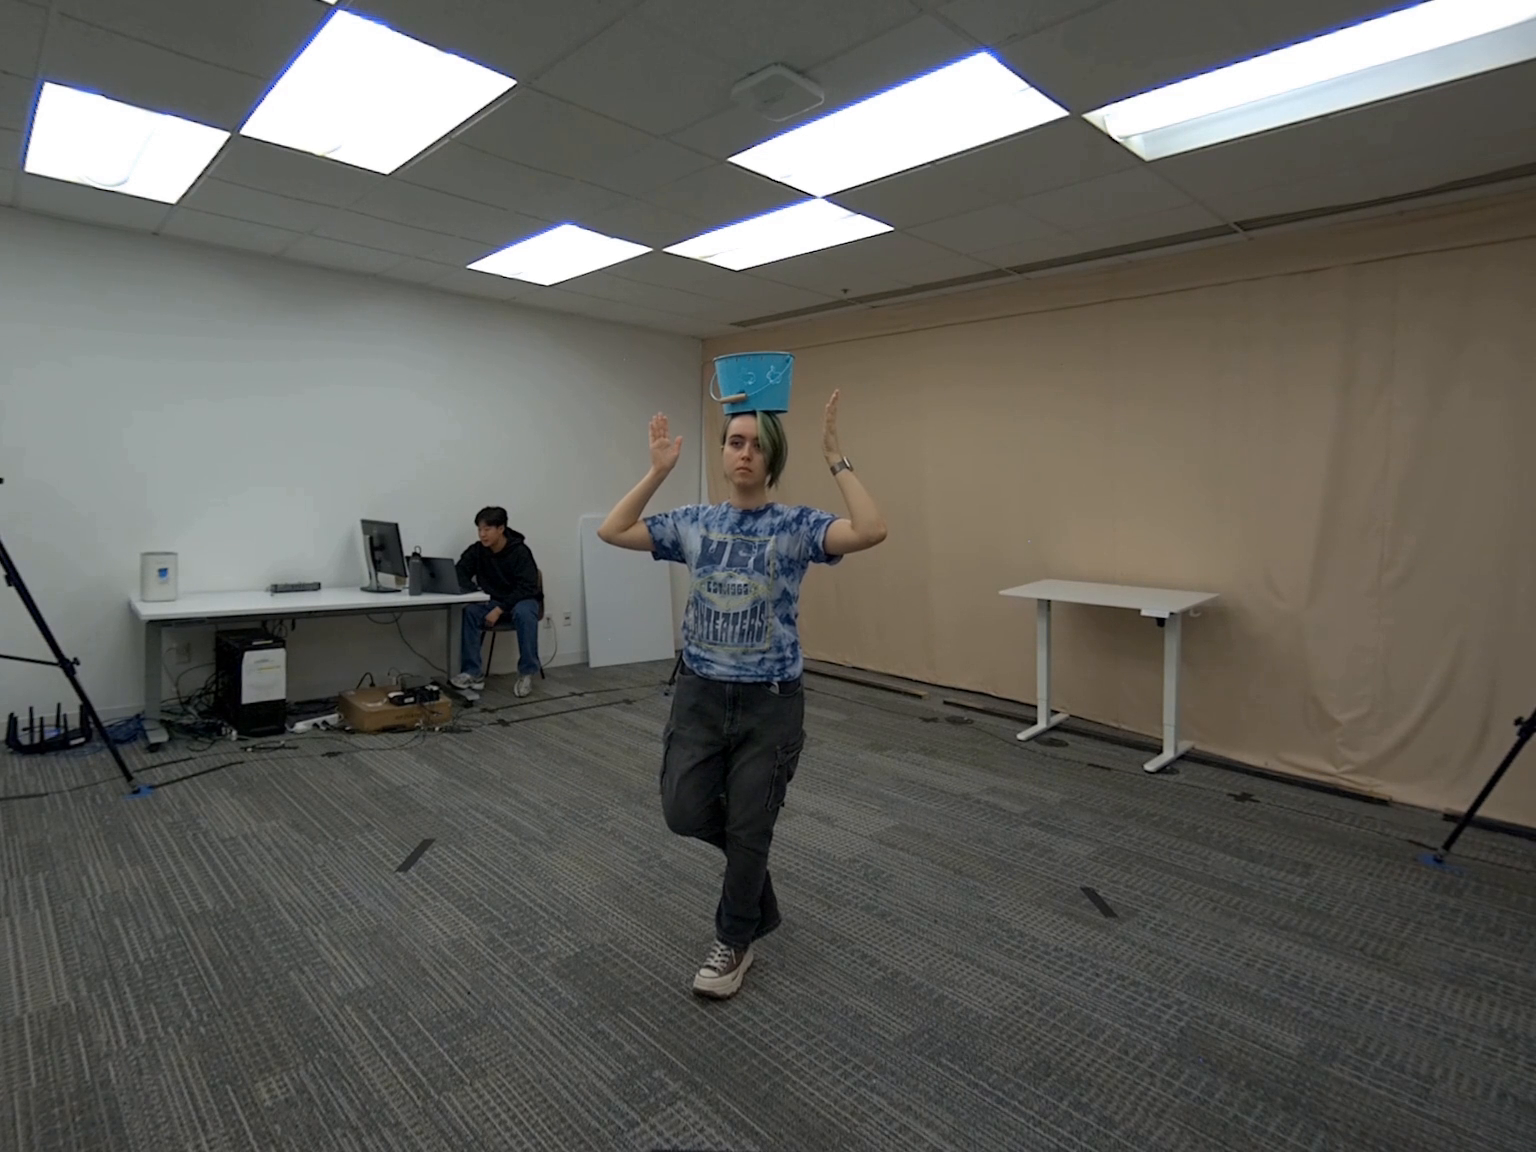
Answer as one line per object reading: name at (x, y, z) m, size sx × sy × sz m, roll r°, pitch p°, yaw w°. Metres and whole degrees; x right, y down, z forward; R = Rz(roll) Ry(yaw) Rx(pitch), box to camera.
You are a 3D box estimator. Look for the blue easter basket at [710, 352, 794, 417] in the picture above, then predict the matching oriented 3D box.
blue easter basket at (-0.043, -0.528, 2.354) m, size 0.243 × 0.155 × 0.244 m, roll -2°, pitch 5°, yaw -1°
